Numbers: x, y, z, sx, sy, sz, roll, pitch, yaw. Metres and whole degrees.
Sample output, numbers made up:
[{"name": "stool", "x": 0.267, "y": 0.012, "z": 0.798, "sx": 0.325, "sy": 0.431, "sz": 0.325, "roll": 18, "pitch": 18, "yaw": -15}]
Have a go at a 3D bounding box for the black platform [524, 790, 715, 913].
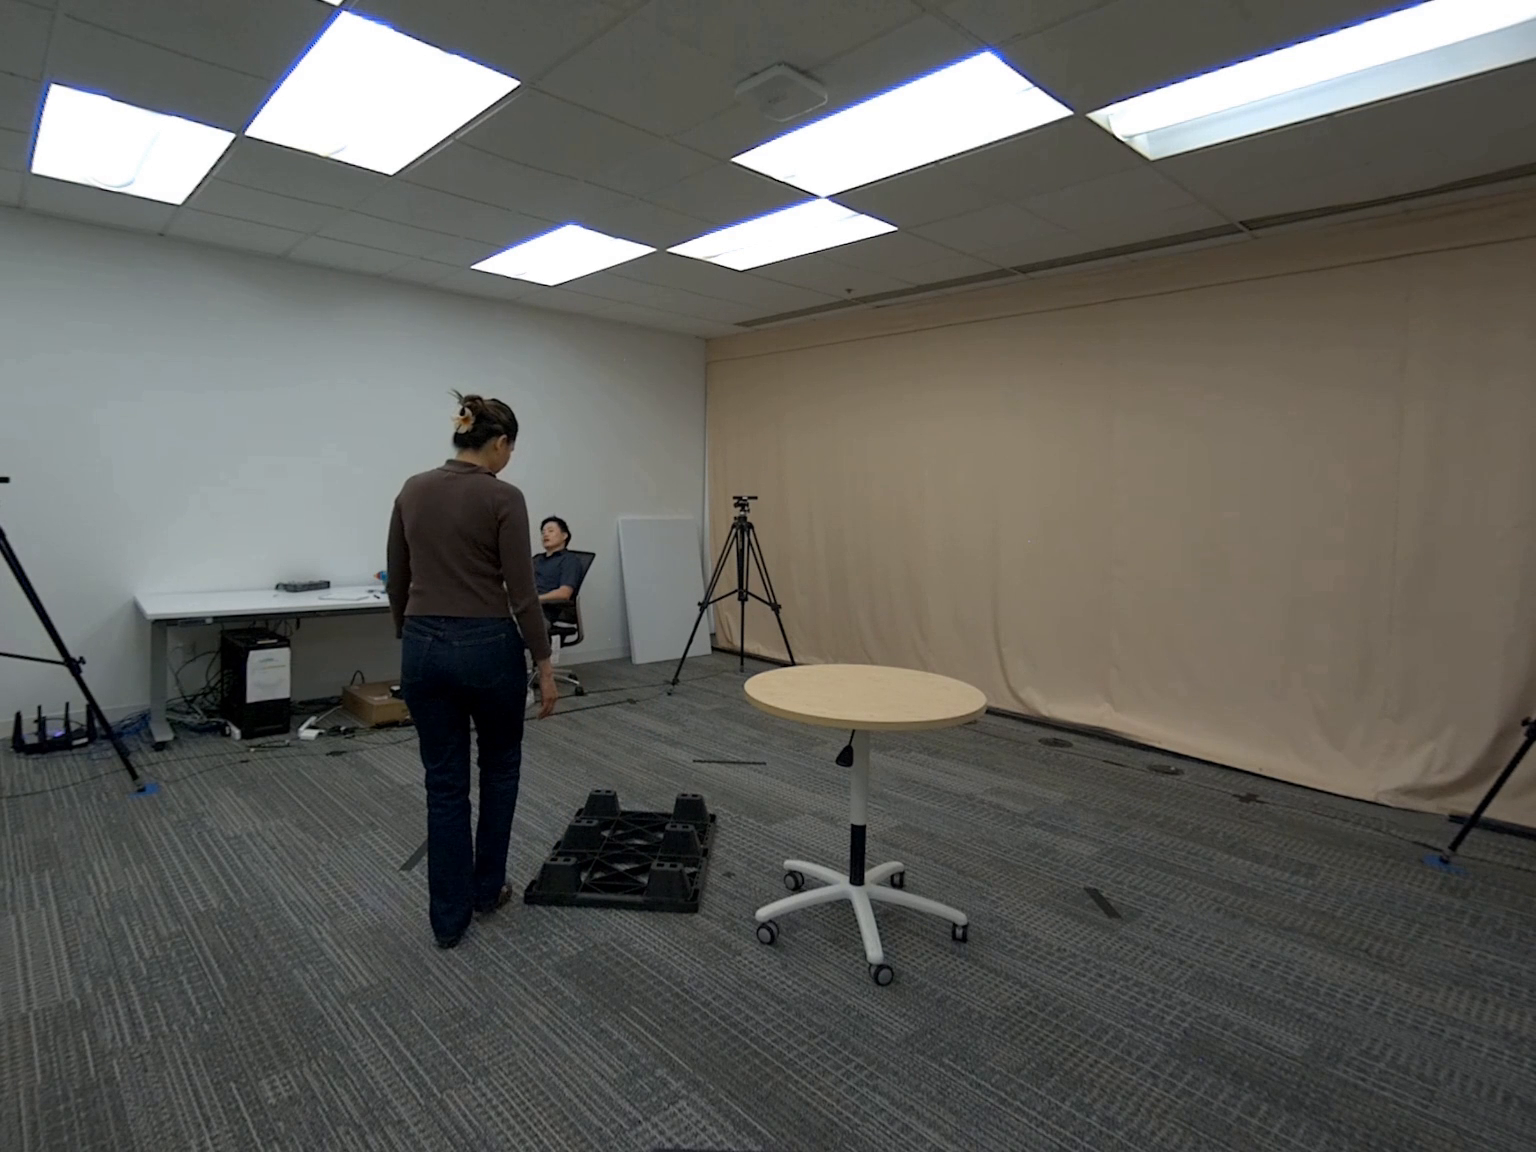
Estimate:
[{"name": "black platform", "x": -0.531, "y": 1.018, "z": 3.223, "sx": 0.606, "sy": 0.143, "sz": 0.806, "roll": 2, "pitch": 5, "yaw": 1}]
